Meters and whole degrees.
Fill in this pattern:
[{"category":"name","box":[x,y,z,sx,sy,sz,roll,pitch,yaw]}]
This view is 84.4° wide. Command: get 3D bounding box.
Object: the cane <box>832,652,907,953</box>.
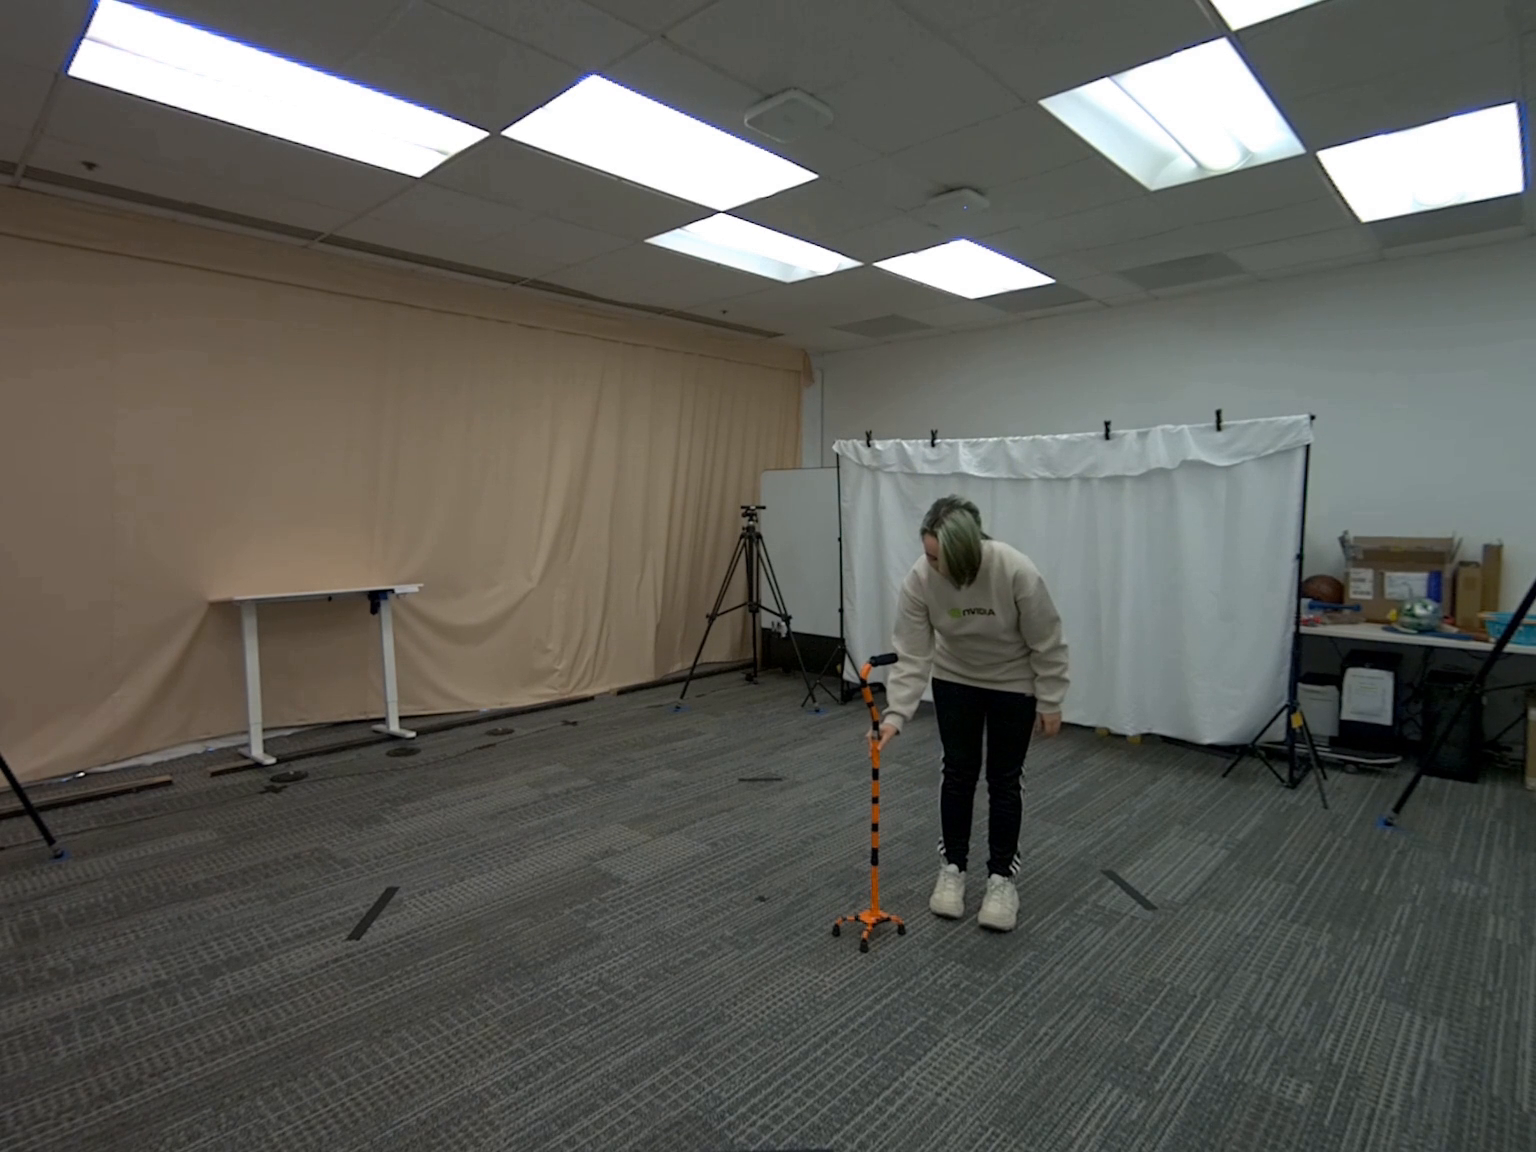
[{"category":"cane","box":[0.327,0.713,2.705,0.200,0.906,0.156,-5,4,-37]}]
